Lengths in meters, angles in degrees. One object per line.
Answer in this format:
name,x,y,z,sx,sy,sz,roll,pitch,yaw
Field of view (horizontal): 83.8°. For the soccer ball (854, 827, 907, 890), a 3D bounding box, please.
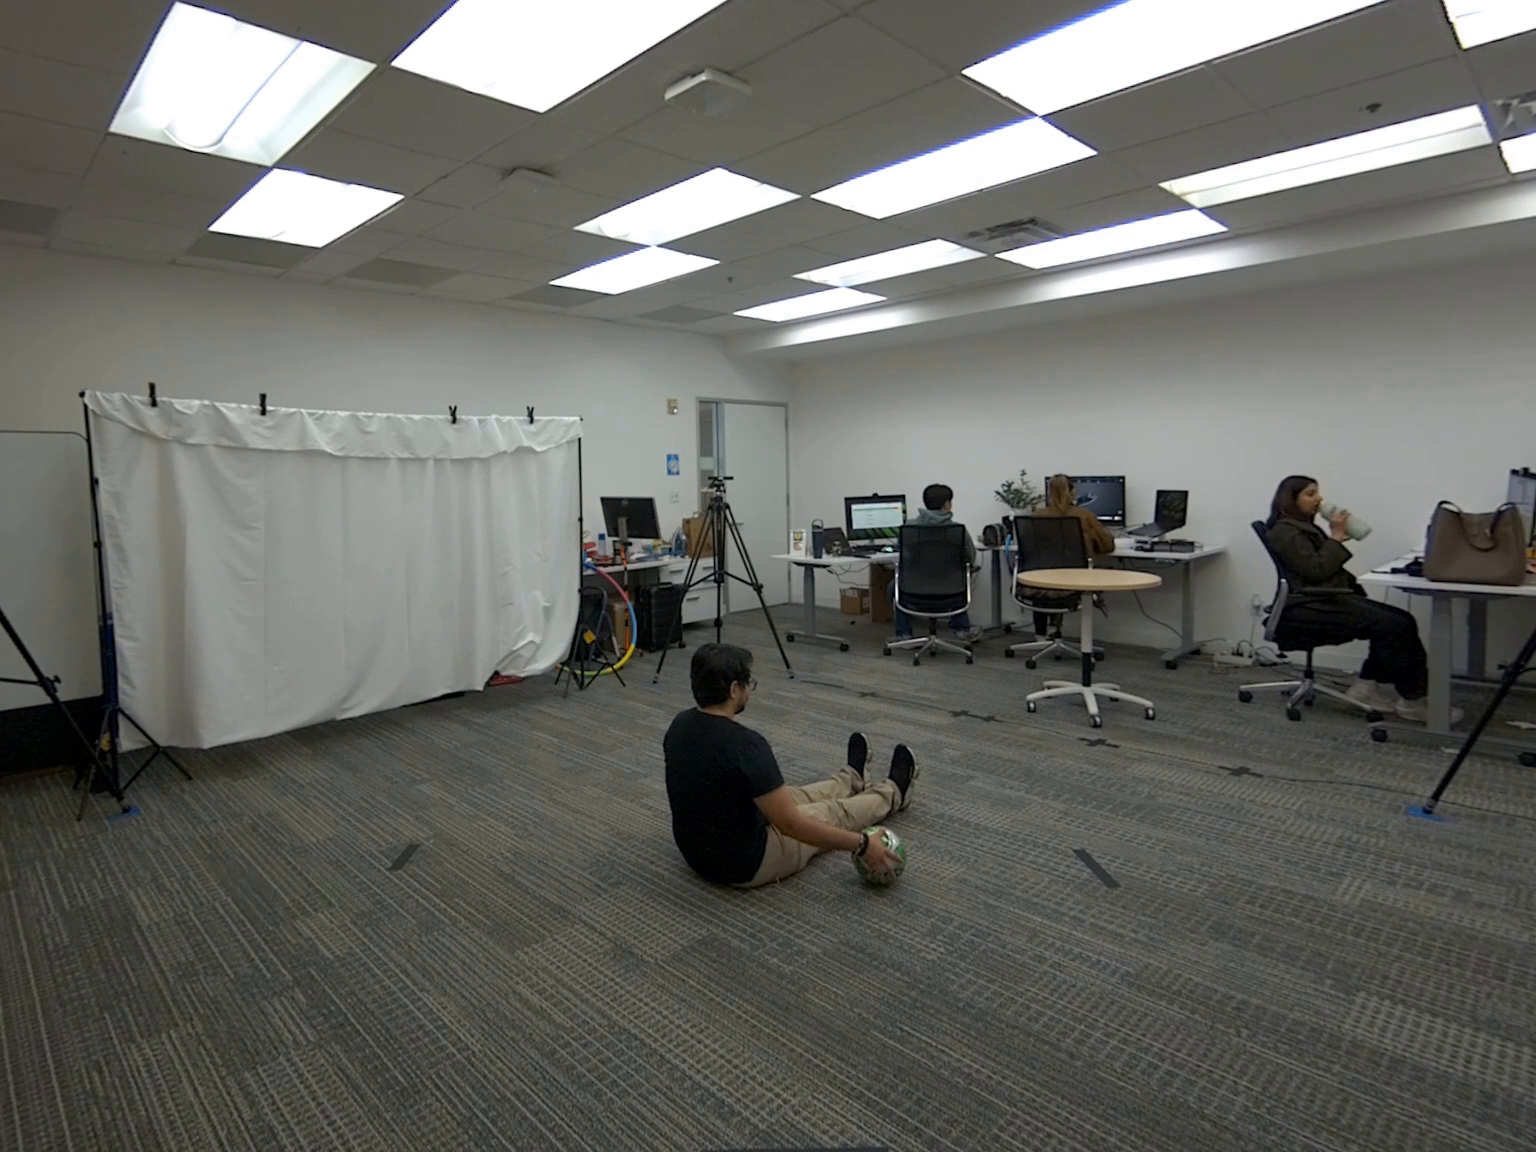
soccer ball,0.379,0.949,2.931,0.187,0.187,0.188,-1,4,-2
